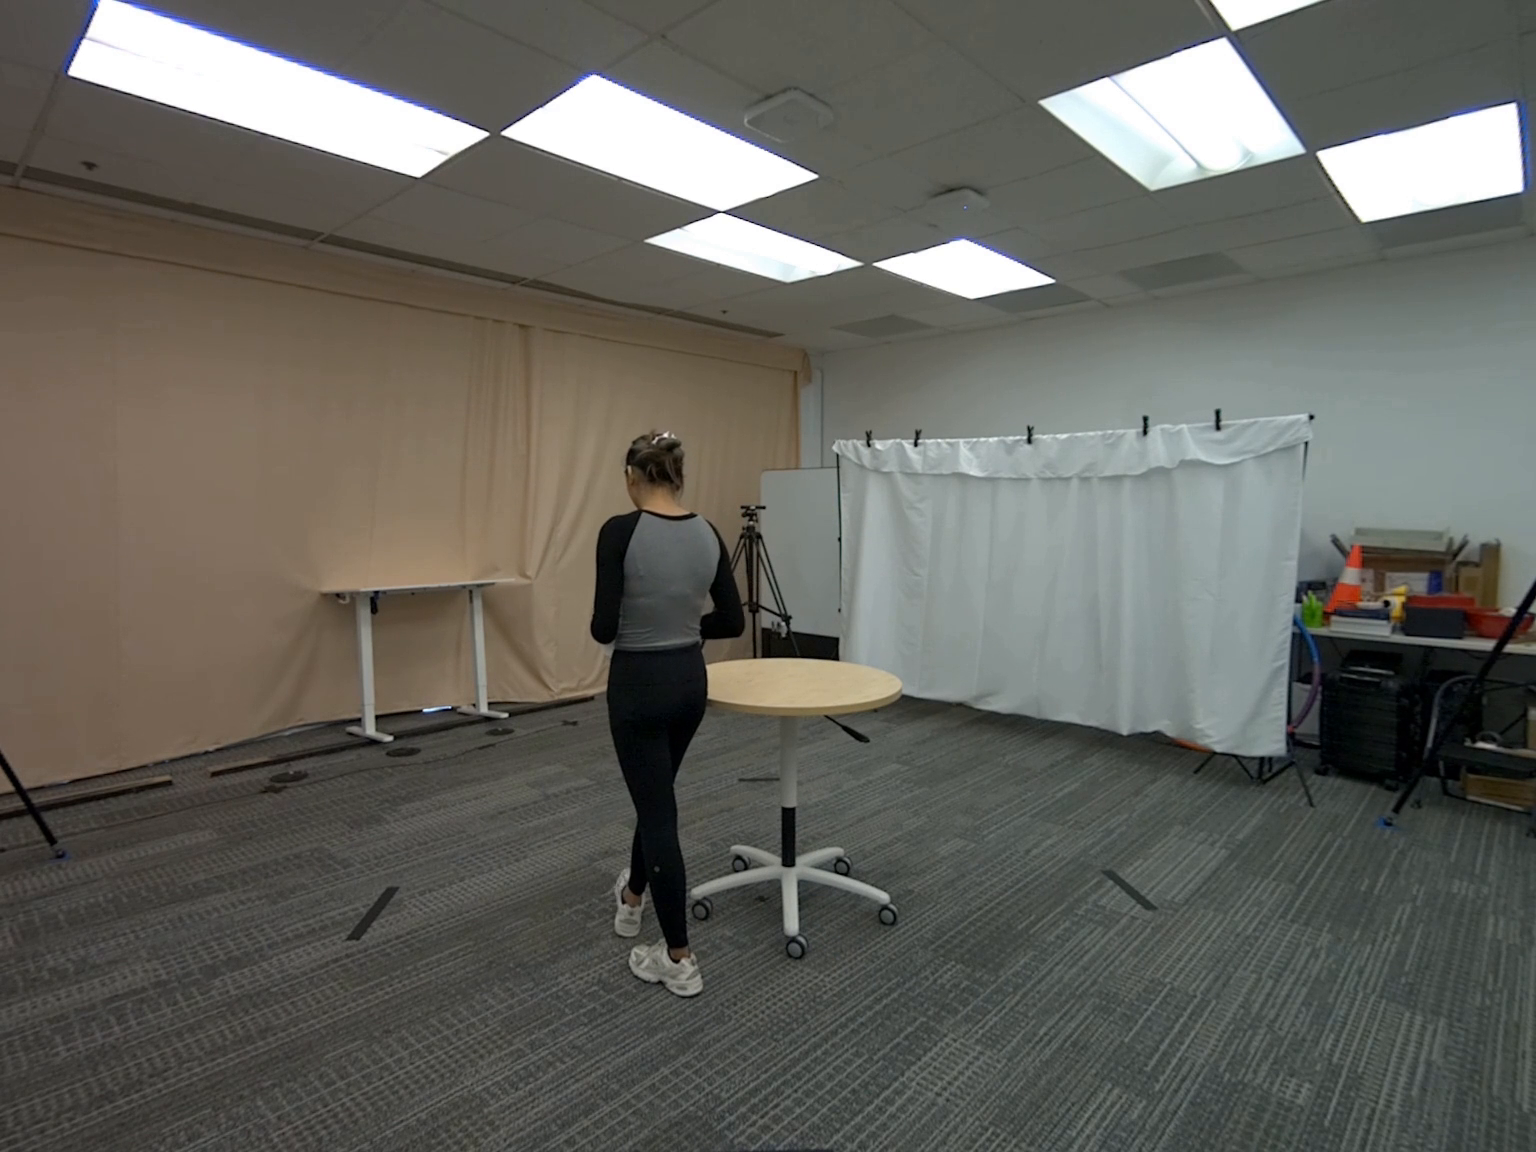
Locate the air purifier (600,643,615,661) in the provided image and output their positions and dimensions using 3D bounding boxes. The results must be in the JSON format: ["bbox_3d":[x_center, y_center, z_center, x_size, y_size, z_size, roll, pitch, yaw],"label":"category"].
[{"bbox_3d":[-0.421,0.140,2.666,0.167,0.264,0.176,1,7,-23],"label":"air purifier"}]
